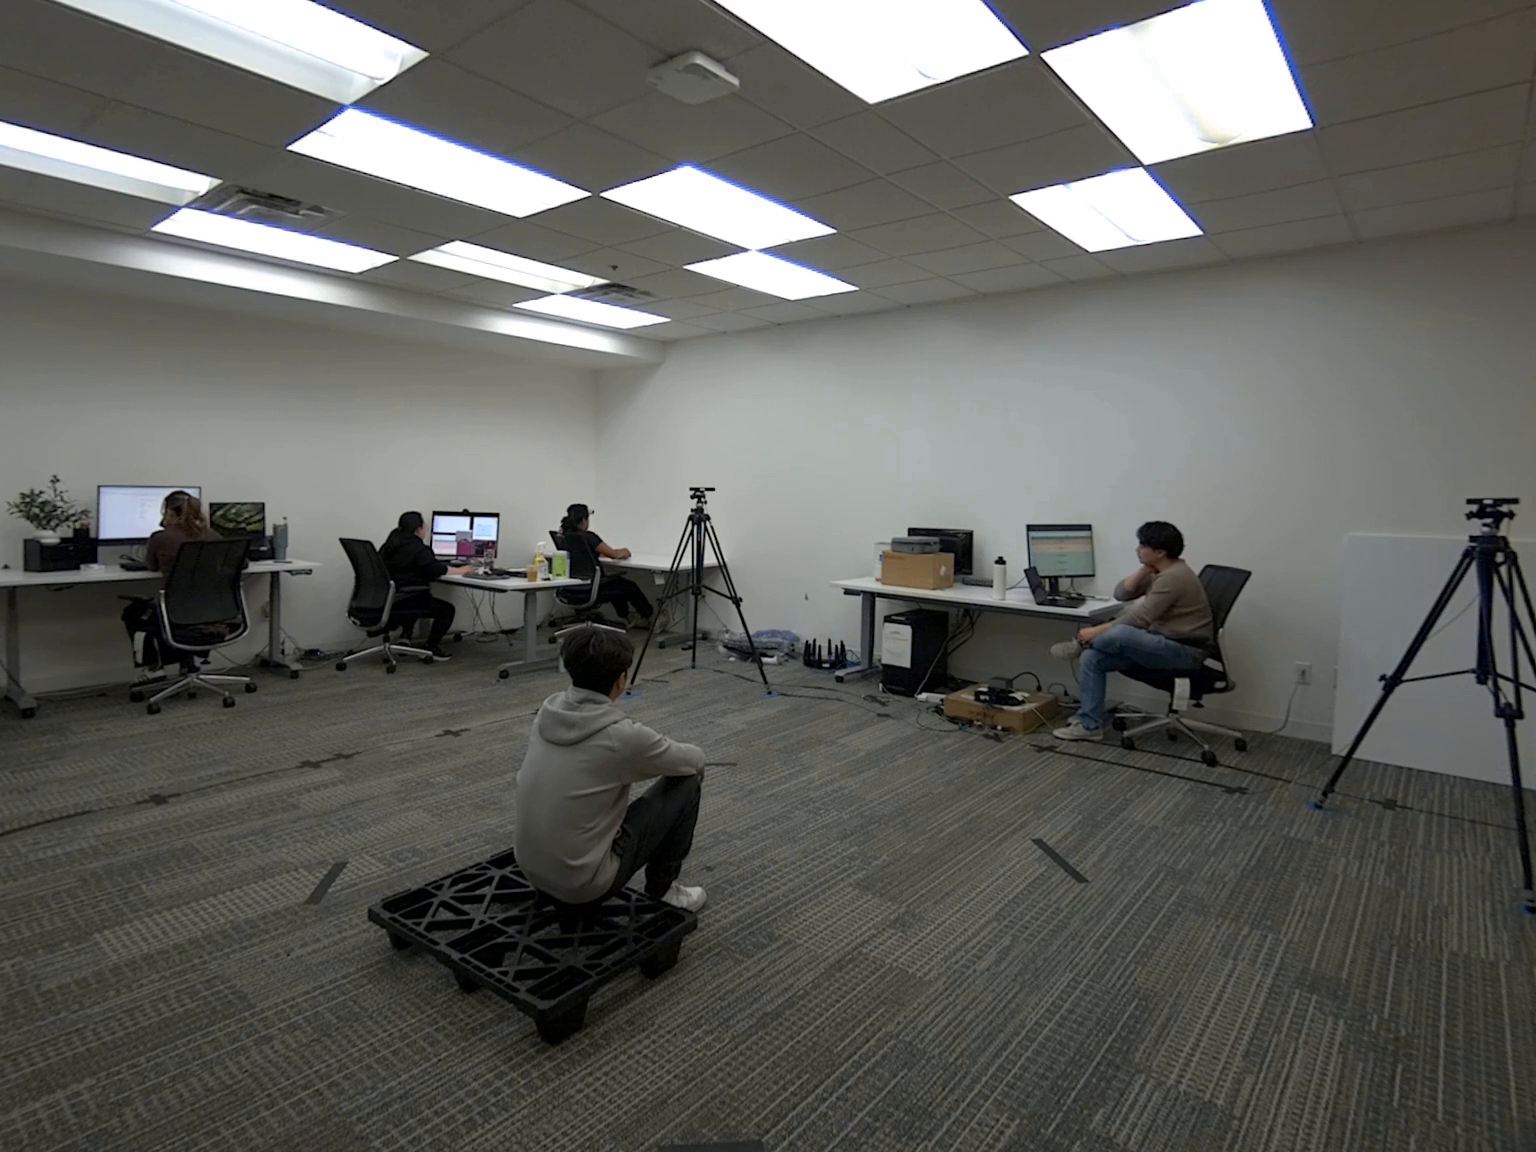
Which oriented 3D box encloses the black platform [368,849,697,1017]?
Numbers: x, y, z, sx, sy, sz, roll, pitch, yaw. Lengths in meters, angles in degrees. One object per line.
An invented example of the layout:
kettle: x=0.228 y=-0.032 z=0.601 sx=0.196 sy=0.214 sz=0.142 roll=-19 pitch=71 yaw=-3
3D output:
black platform: x=-0.705 y=1.051 z=2.518 sx=0.832 sy=0.143 sz=0.588 roll=5 pitch=7 yaw=36
